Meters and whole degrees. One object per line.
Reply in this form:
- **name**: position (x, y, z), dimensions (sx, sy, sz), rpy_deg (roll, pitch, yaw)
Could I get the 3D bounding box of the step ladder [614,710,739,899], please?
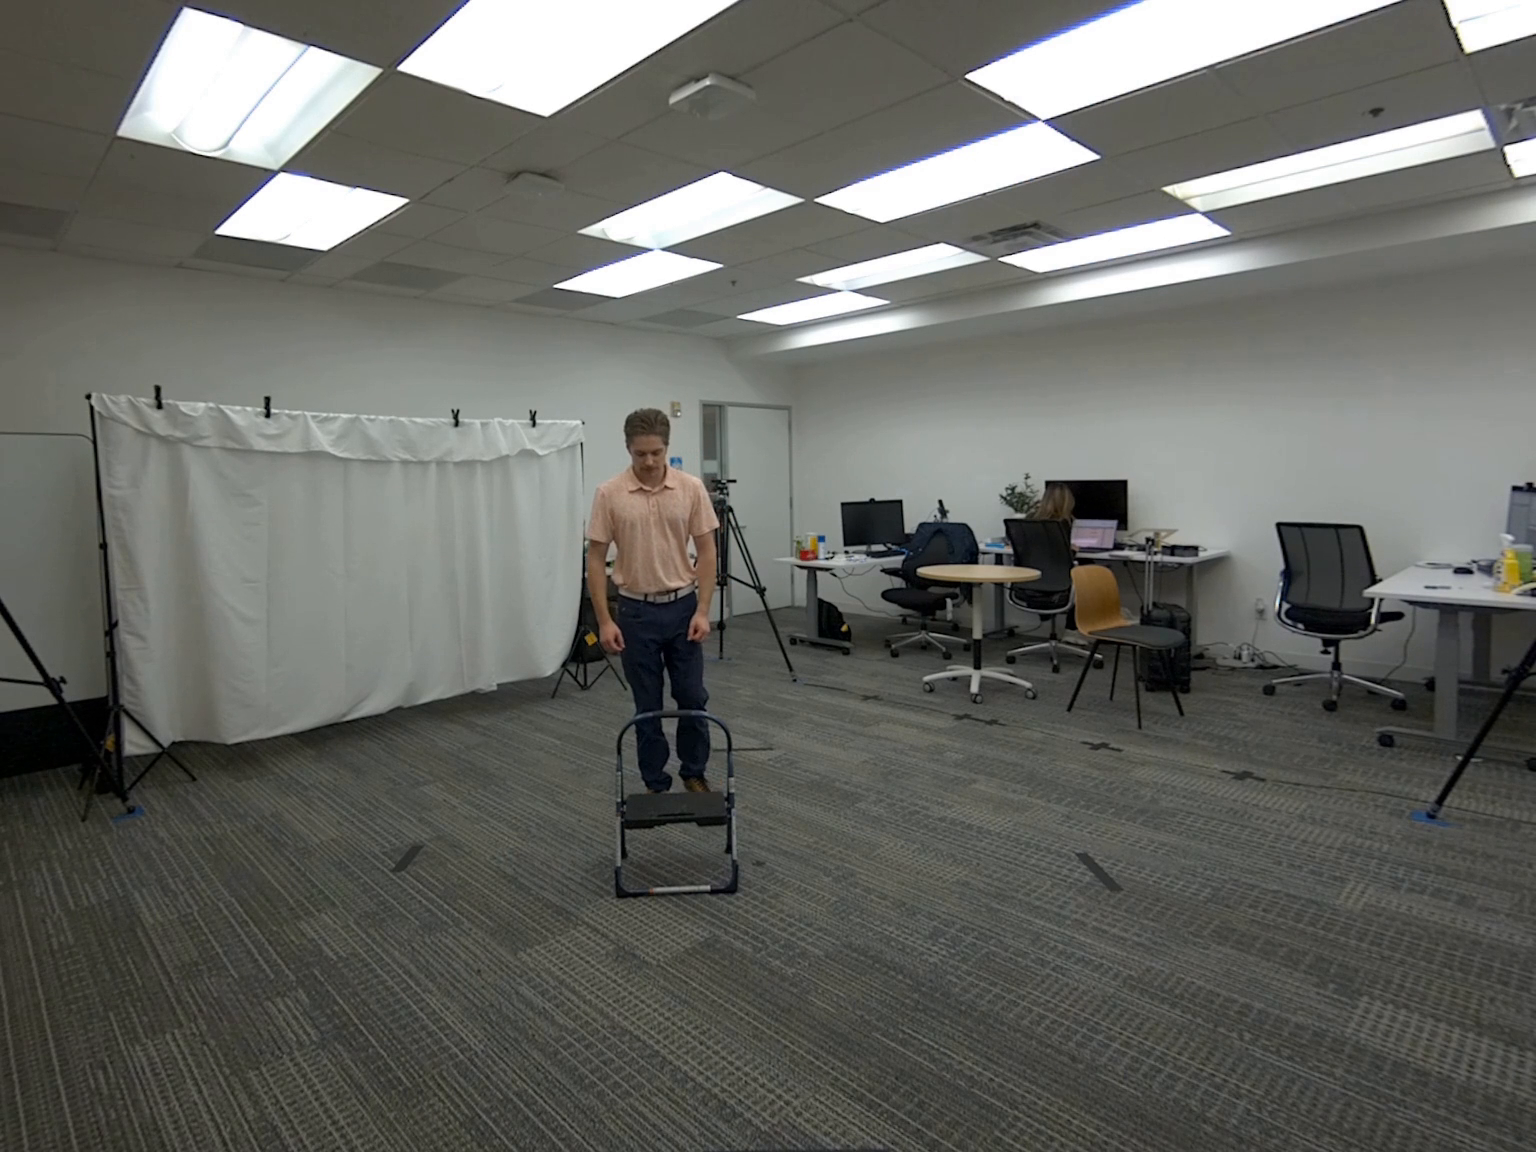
- **step ladder**: position (-0.328, 0.762, 3.028), dimensions (0.428, 0.604, 0.352), rpy_deg (-2, 4, -6)
